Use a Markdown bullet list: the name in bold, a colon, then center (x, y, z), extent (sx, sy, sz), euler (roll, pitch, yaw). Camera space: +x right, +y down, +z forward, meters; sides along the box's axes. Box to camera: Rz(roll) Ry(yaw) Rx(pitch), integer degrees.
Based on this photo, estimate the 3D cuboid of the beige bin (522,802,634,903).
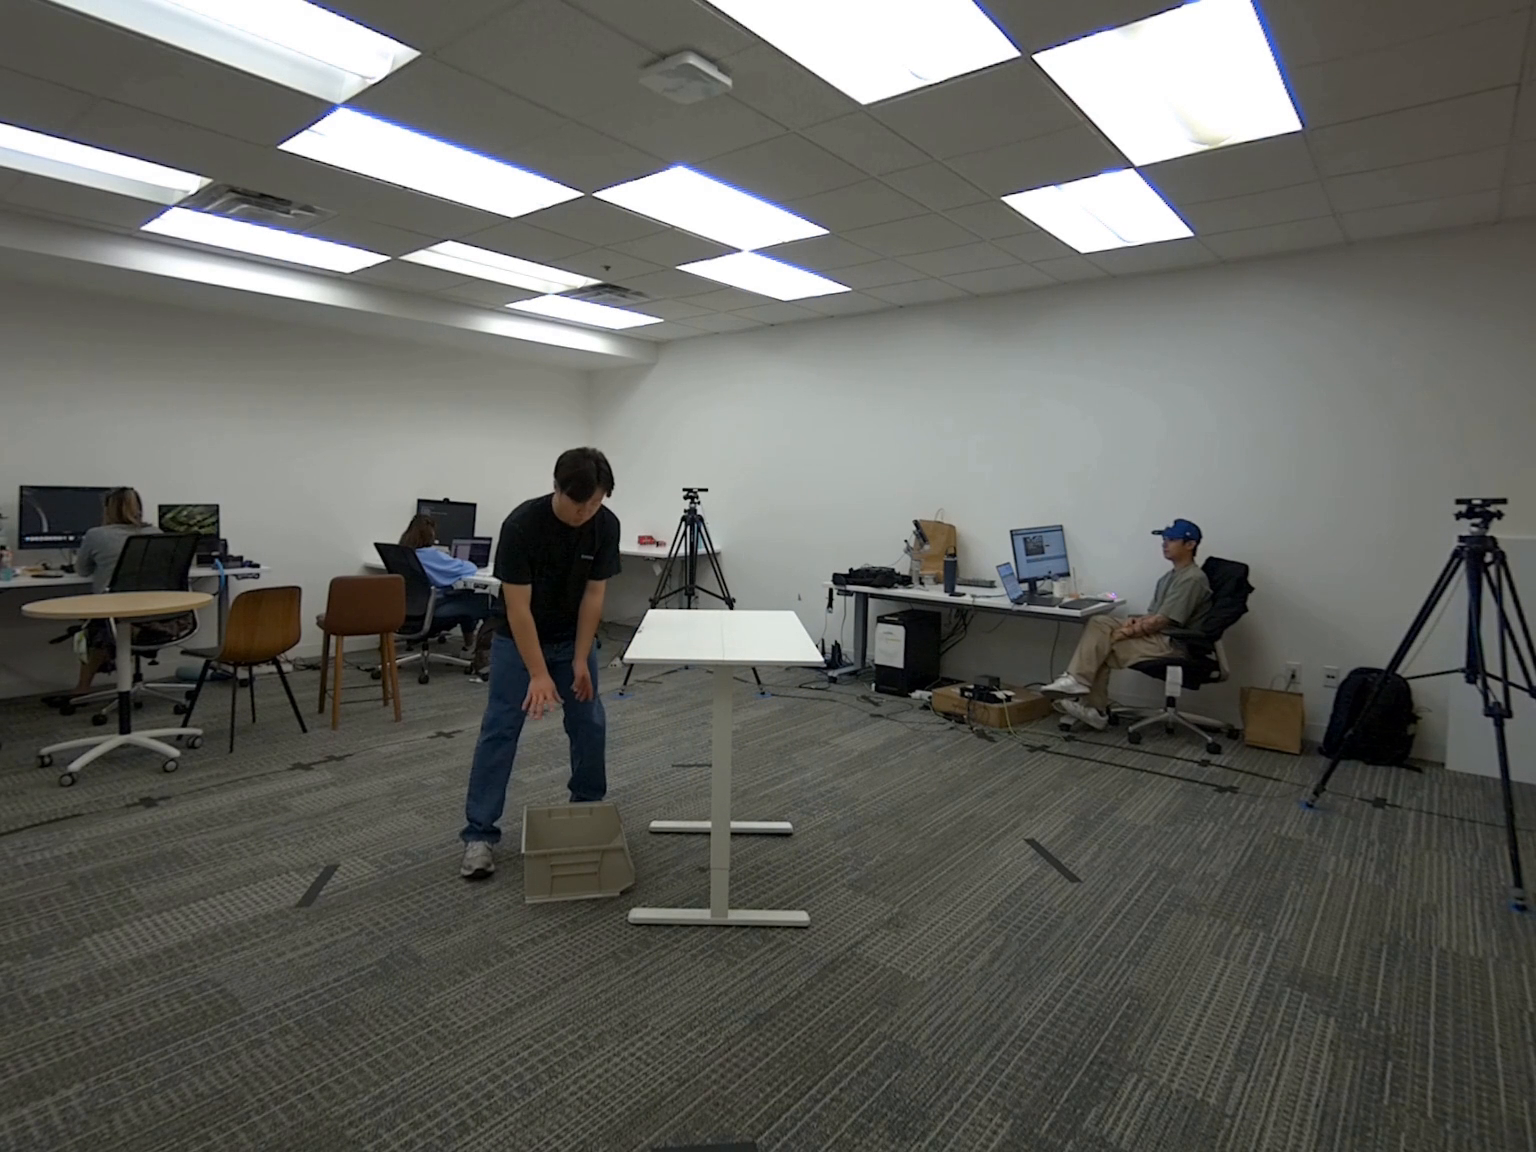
- **beige bin**: center (-0.698, 0.977, 3.059), extent (0.372, 0.188, 0.430), euler (-2, 6, -14)
